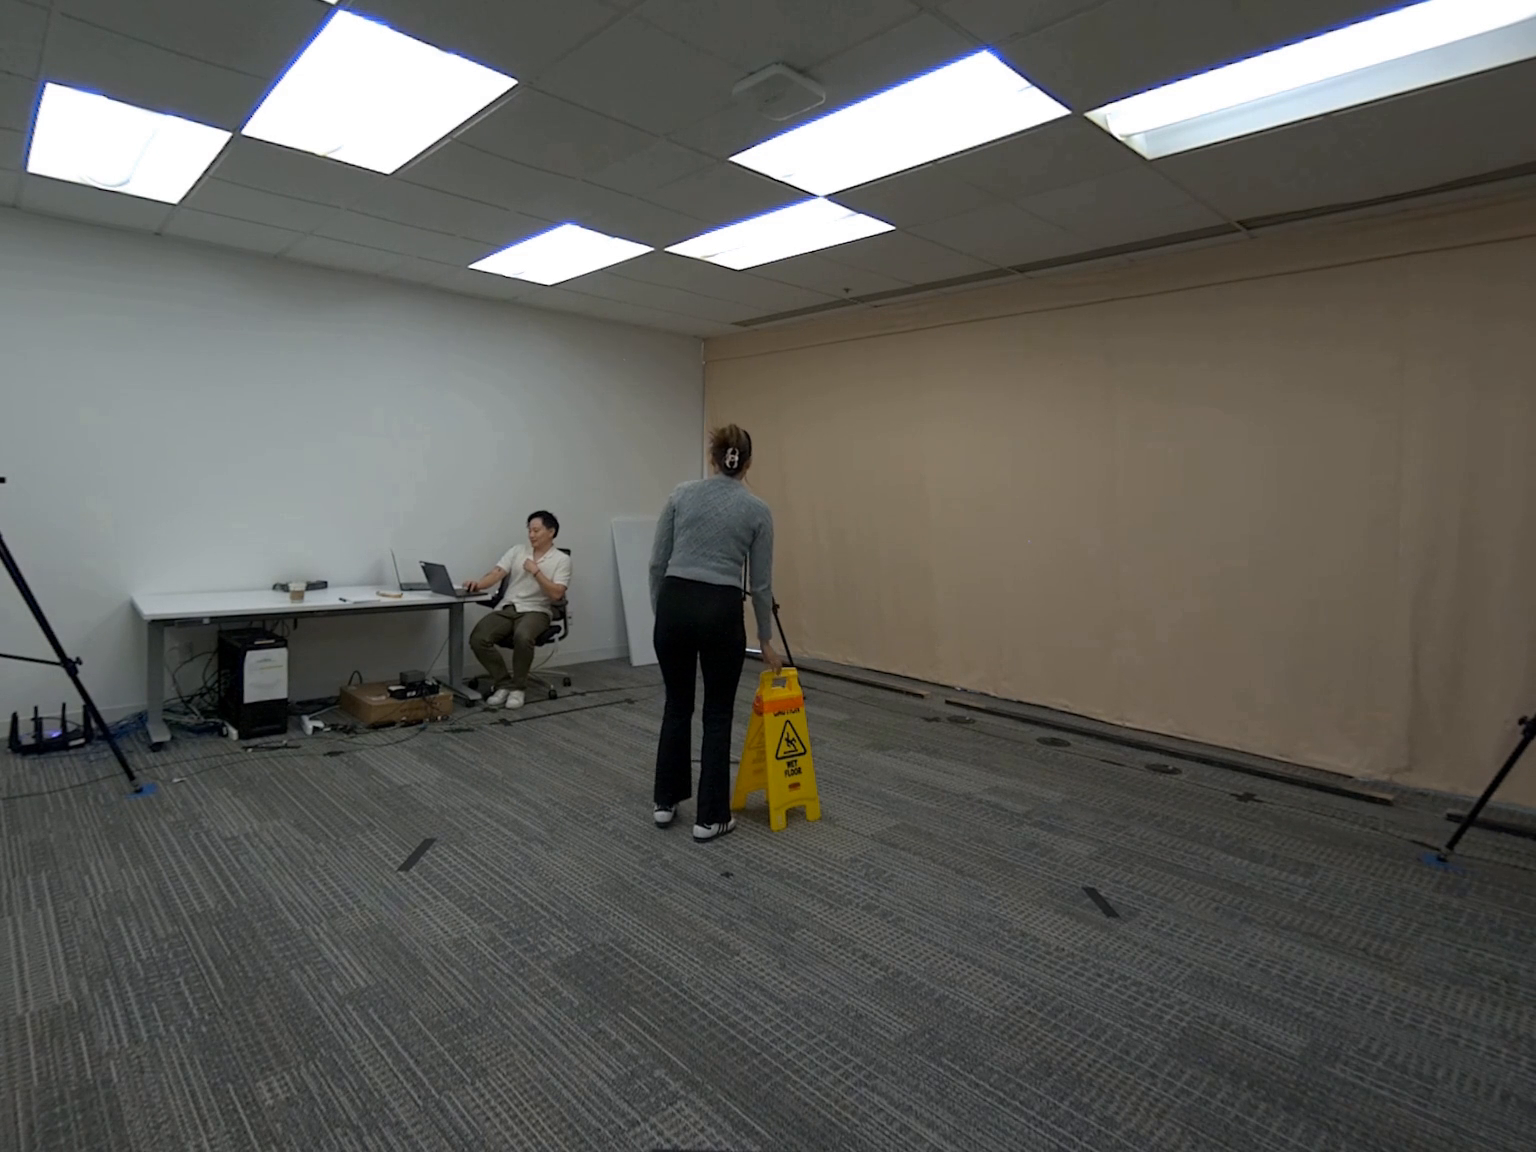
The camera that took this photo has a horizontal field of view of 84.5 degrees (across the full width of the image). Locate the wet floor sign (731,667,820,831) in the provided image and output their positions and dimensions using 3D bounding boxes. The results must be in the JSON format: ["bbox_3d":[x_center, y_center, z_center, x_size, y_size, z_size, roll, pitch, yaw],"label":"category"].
[{"bbox_3d":[0.037,0.732,3.705,0.276,0.644,0.297,-1,4,-39],"label":"wet floor sign"}]
